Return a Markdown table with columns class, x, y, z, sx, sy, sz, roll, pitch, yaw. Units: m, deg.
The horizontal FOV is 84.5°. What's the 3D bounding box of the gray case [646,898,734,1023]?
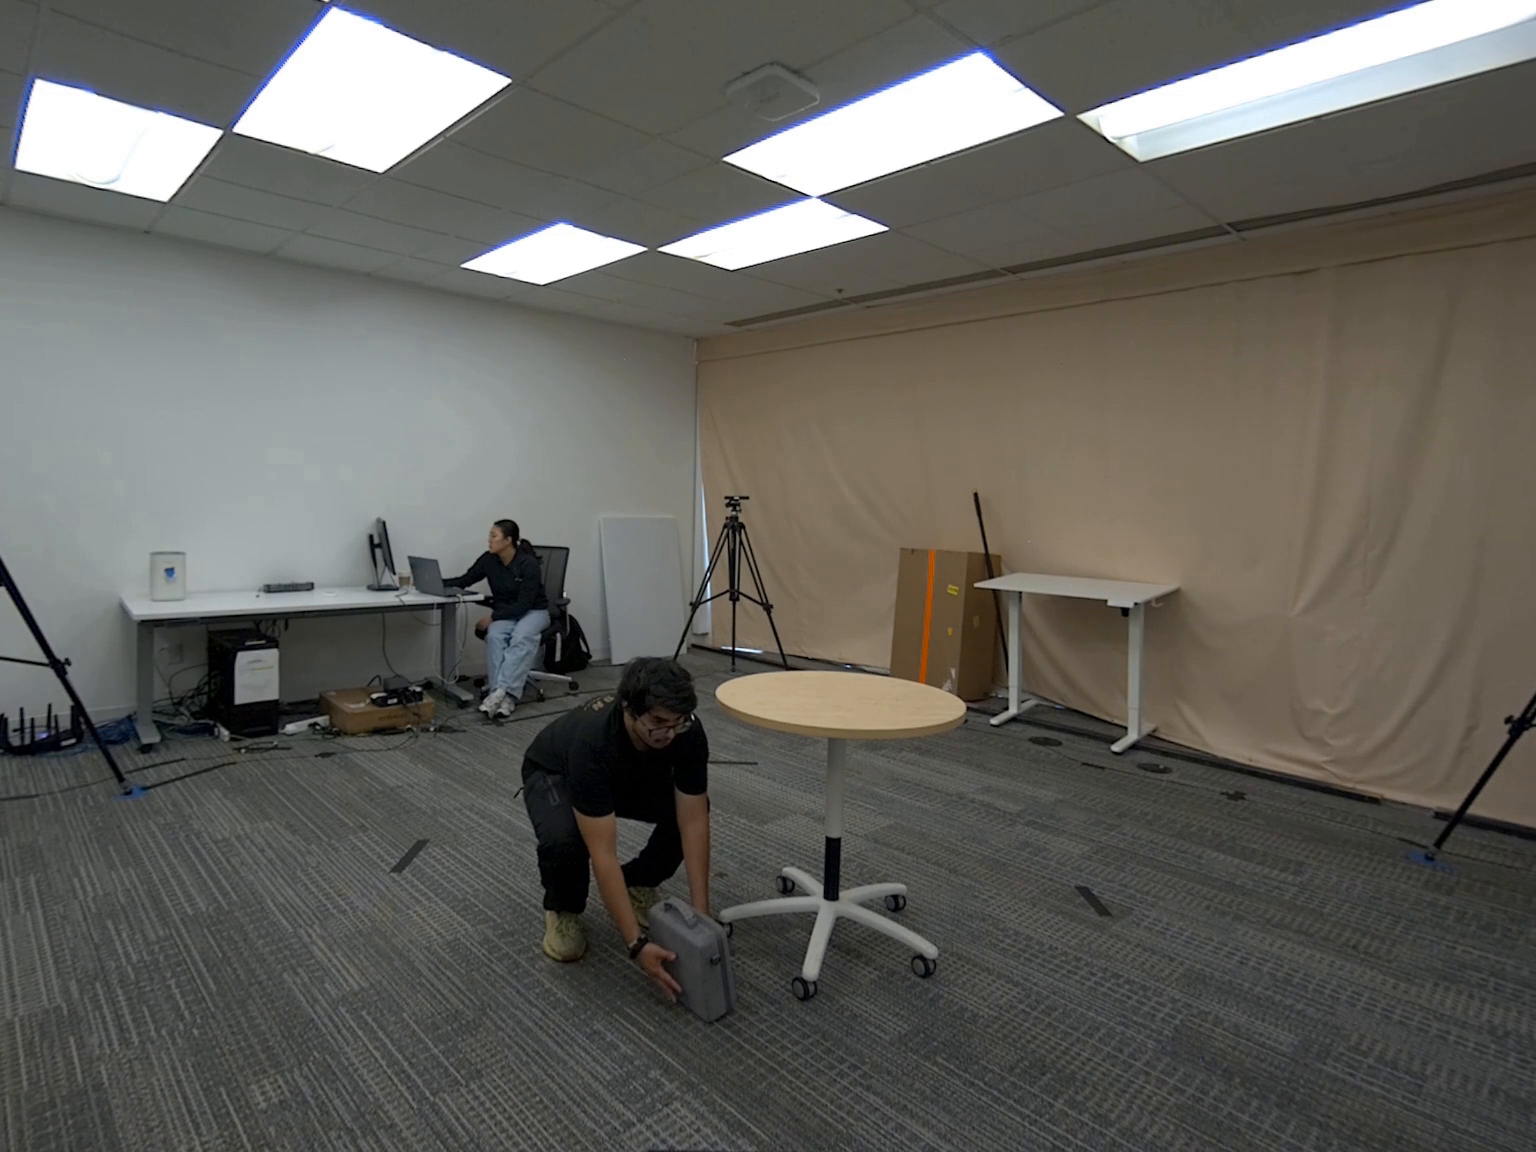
| class | x | y | z | sx | sy | sz | roll | pitch | yaw |
| --- | --- | --- | --- | --- | --- | --- | --- | --- | --- |
| gray case | -0.215 | 1.046 | 2.297 | 0.102 | 0.258 | 0.263 | -15 | 14 | -40 |
